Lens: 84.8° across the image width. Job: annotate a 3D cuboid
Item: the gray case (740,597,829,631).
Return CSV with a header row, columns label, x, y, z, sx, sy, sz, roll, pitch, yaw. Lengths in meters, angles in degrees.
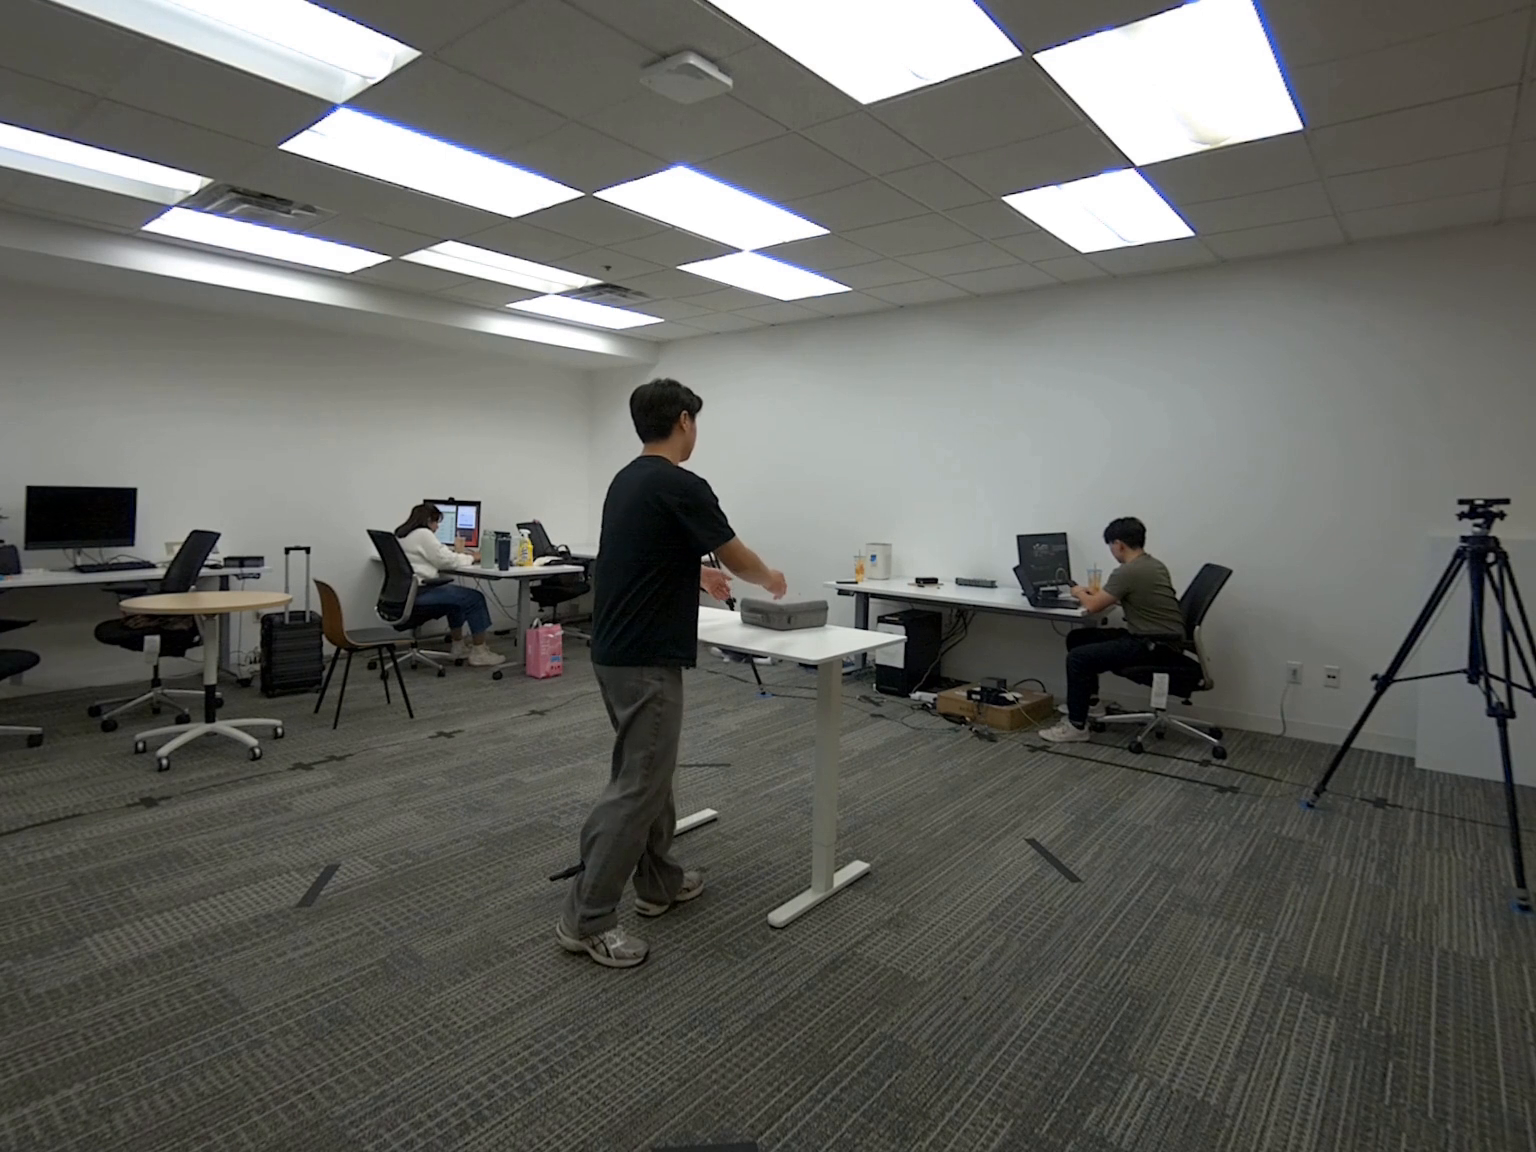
label,x,y,z,sx,sy,sz,roll,pitch,yaw
gray case,0.050,0.128,3.223,0.253,0.104,0.266,-4,9,-39
